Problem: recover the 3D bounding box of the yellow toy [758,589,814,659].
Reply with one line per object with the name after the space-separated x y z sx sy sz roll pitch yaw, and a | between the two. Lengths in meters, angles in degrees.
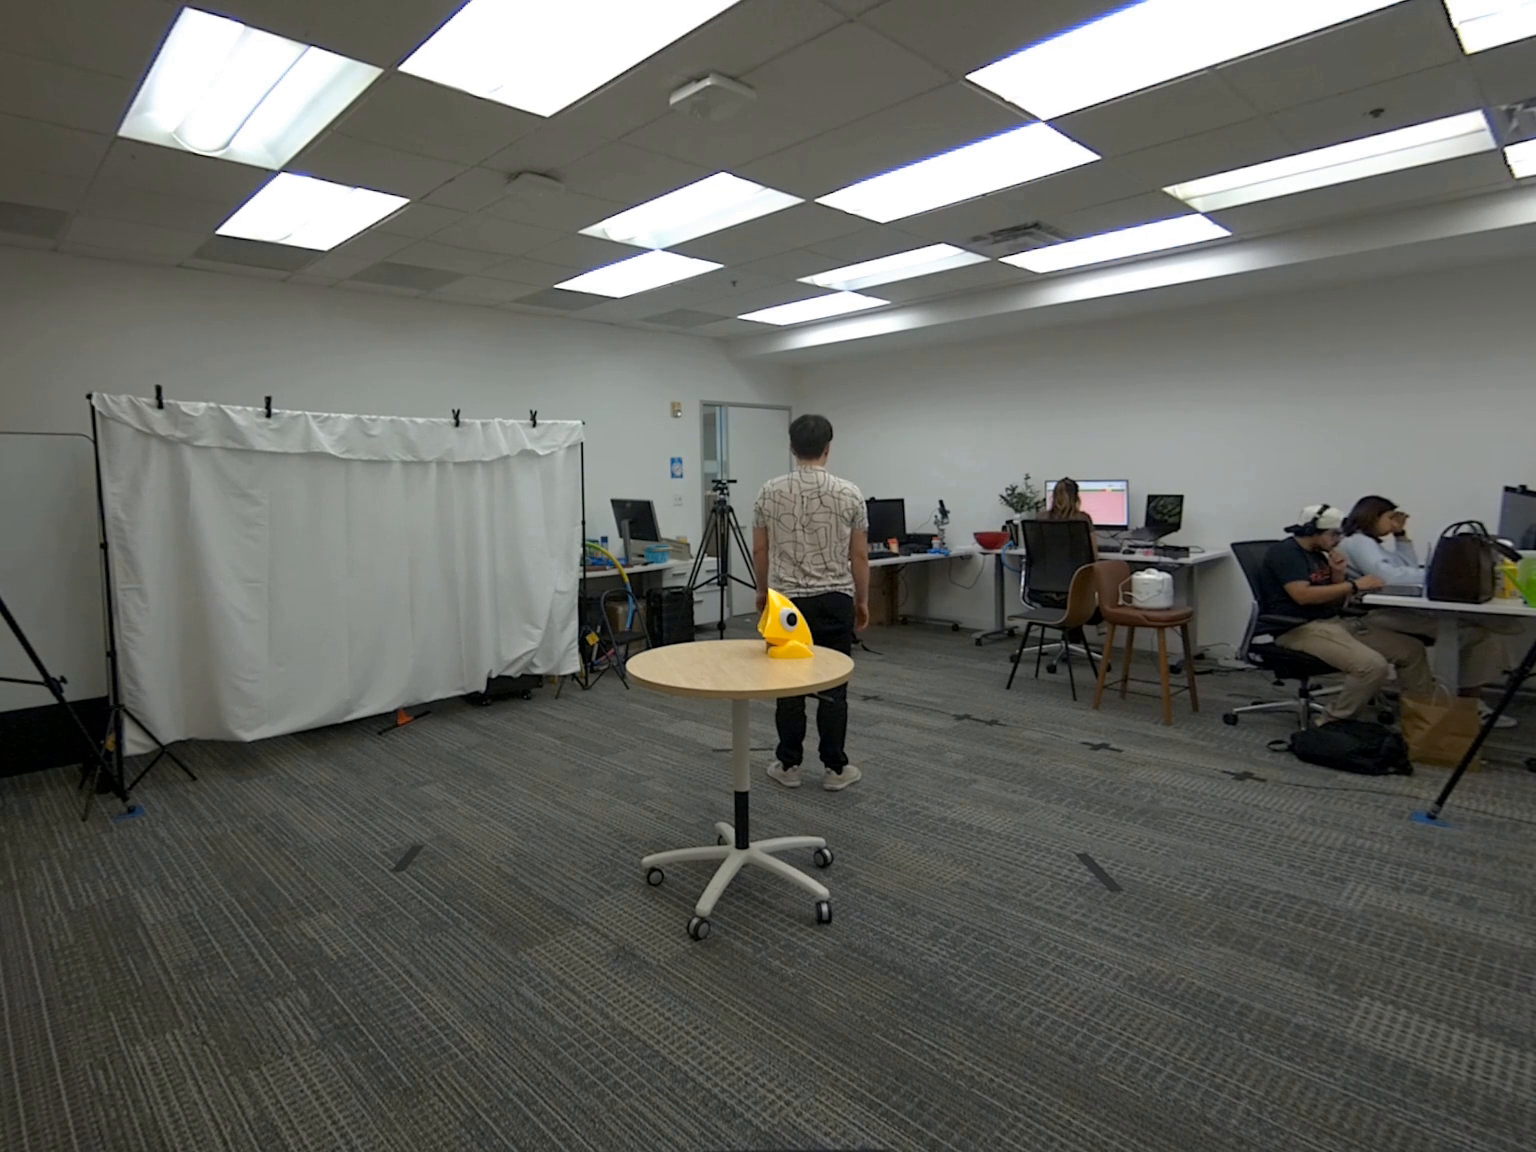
0.063 0.163 3.020 0.192 0.230 0.206 -1 4 -4 | yellow toy
